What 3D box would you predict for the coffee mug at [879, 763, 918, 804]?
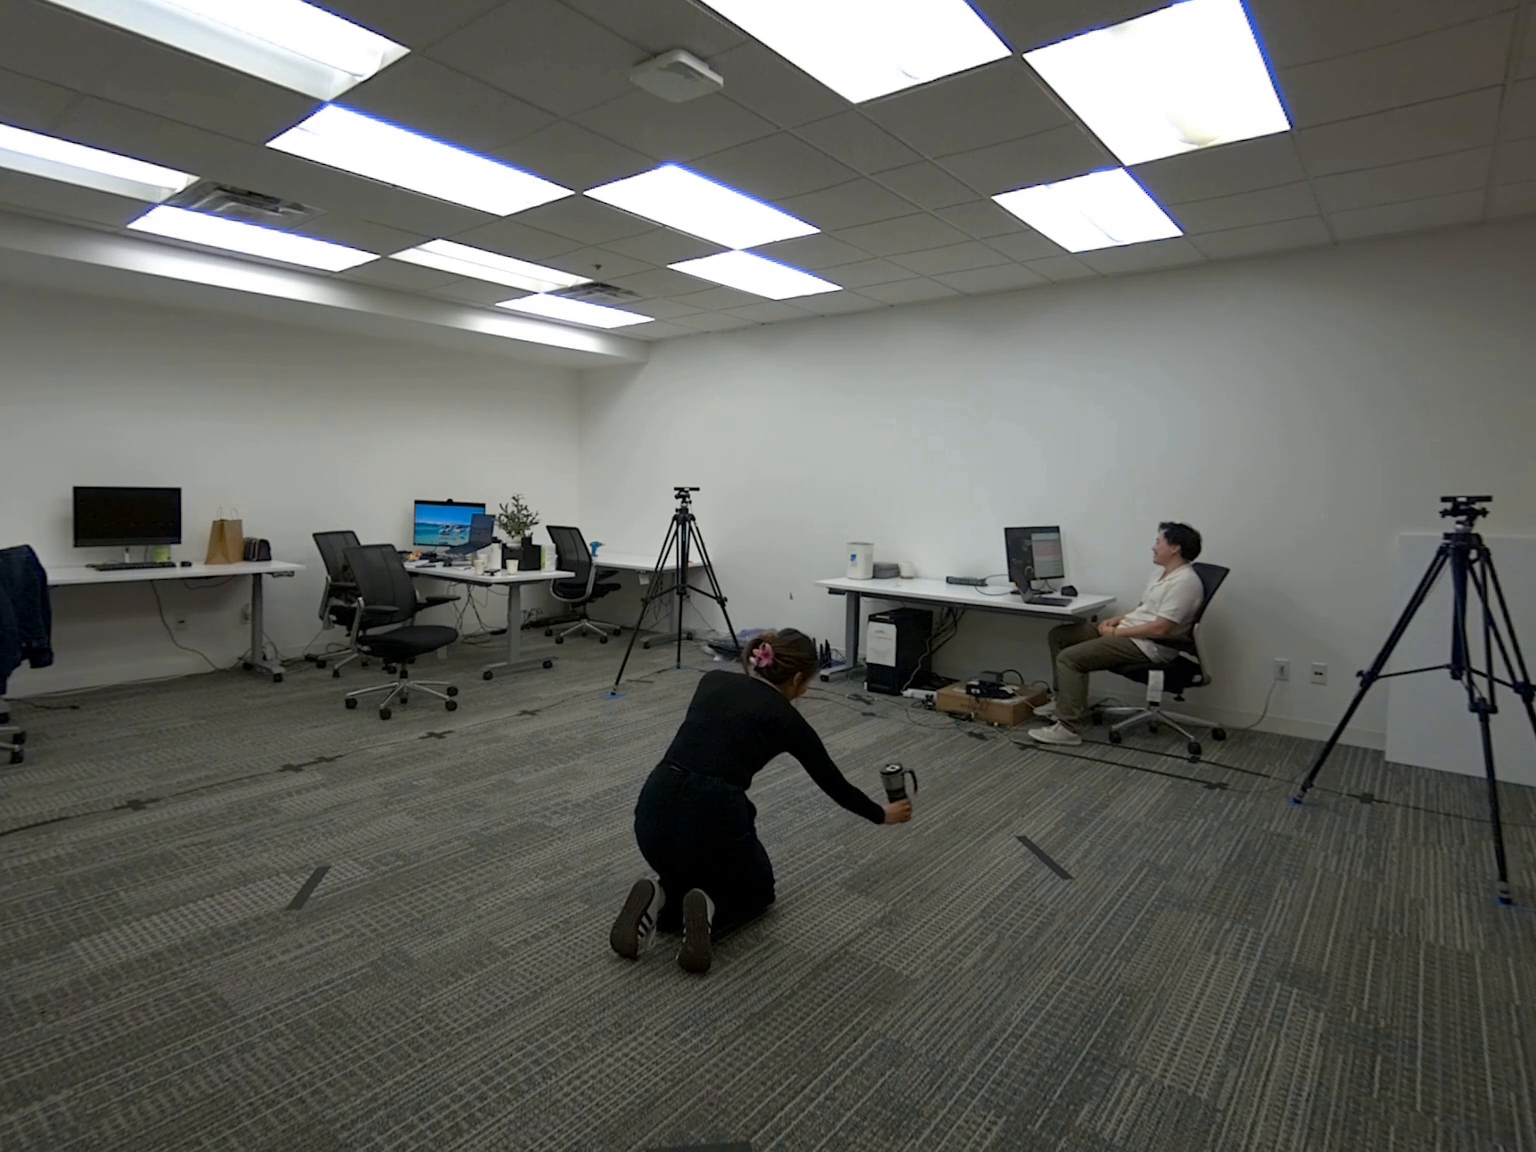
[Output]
[{"bbox_3d":[0.467,0.803,3.088,0.123,0.202,0.087,-12,4,15],"label":"coffee mug"}]
